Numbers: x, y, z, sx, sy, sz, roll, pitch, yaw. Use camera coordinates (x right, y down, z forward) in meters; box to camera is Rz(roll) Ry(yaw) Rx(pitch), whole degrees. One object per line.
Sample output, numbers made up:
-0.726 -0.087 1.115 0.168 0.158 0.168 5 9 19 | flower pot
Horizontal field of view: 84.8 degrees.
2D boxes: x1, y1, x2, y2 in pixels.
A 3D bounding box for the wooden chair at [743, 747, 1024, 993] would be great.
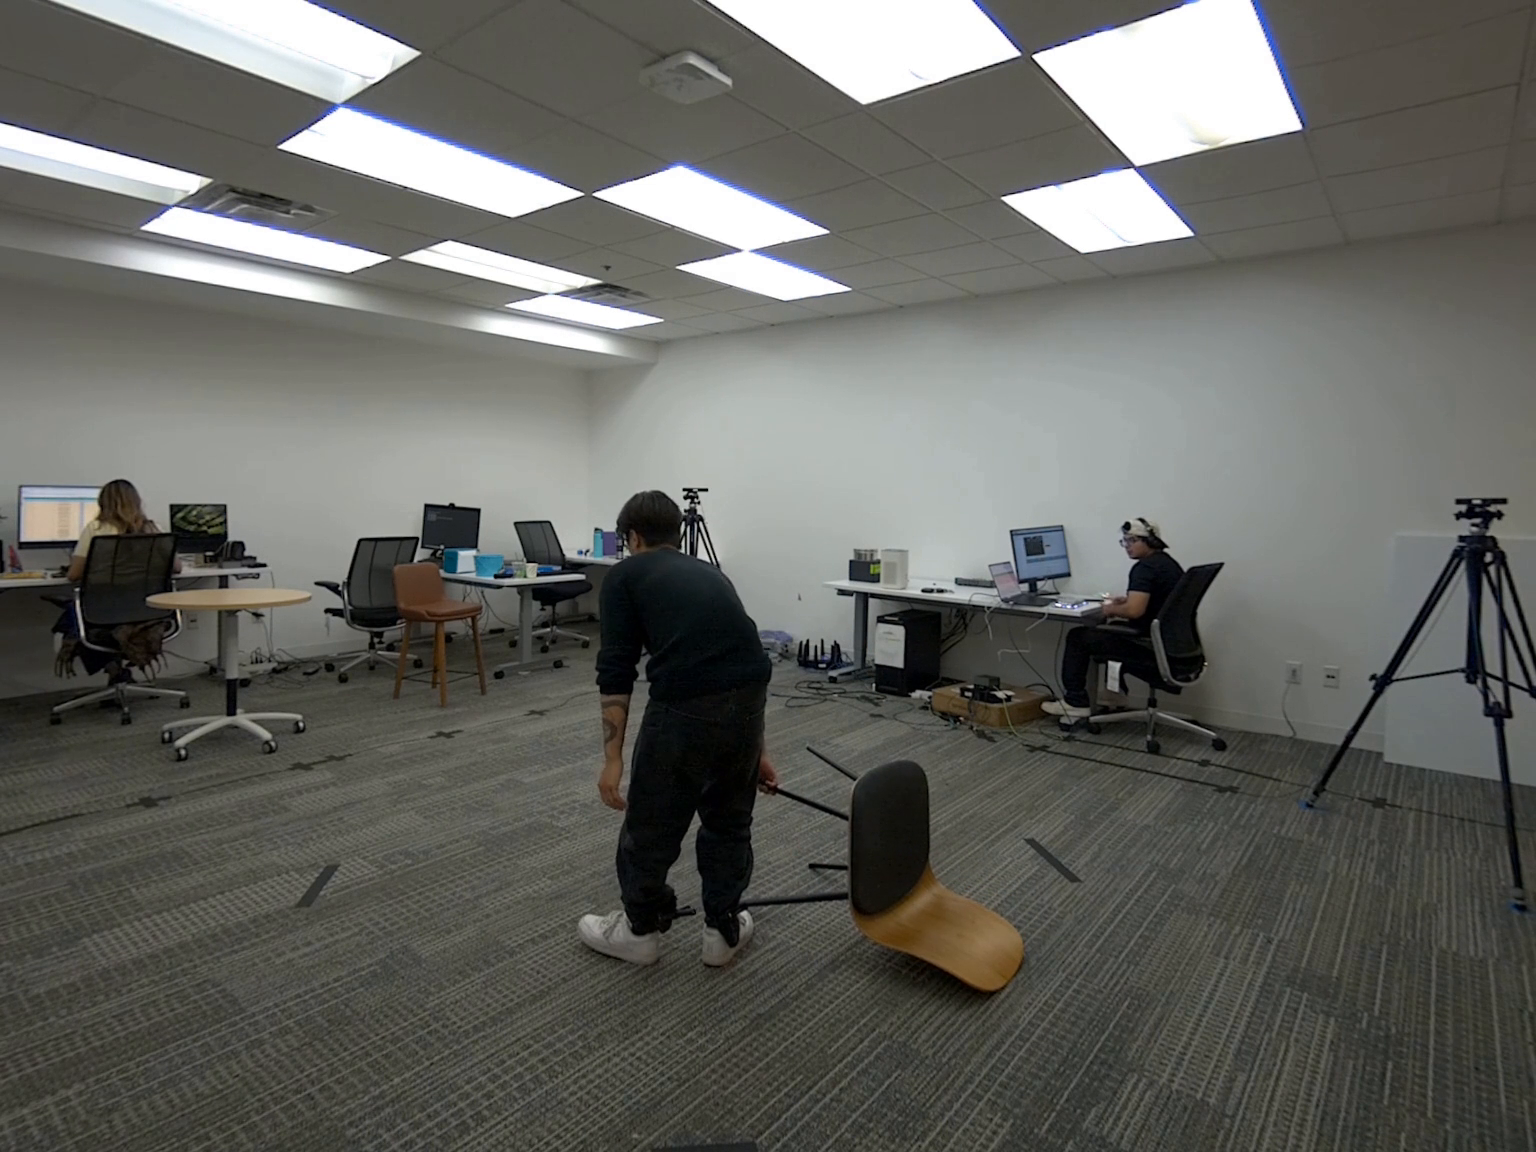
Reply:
0.340 0.864 2.692 0.908 0.521 0.463 7 6 40 | wooden chair
